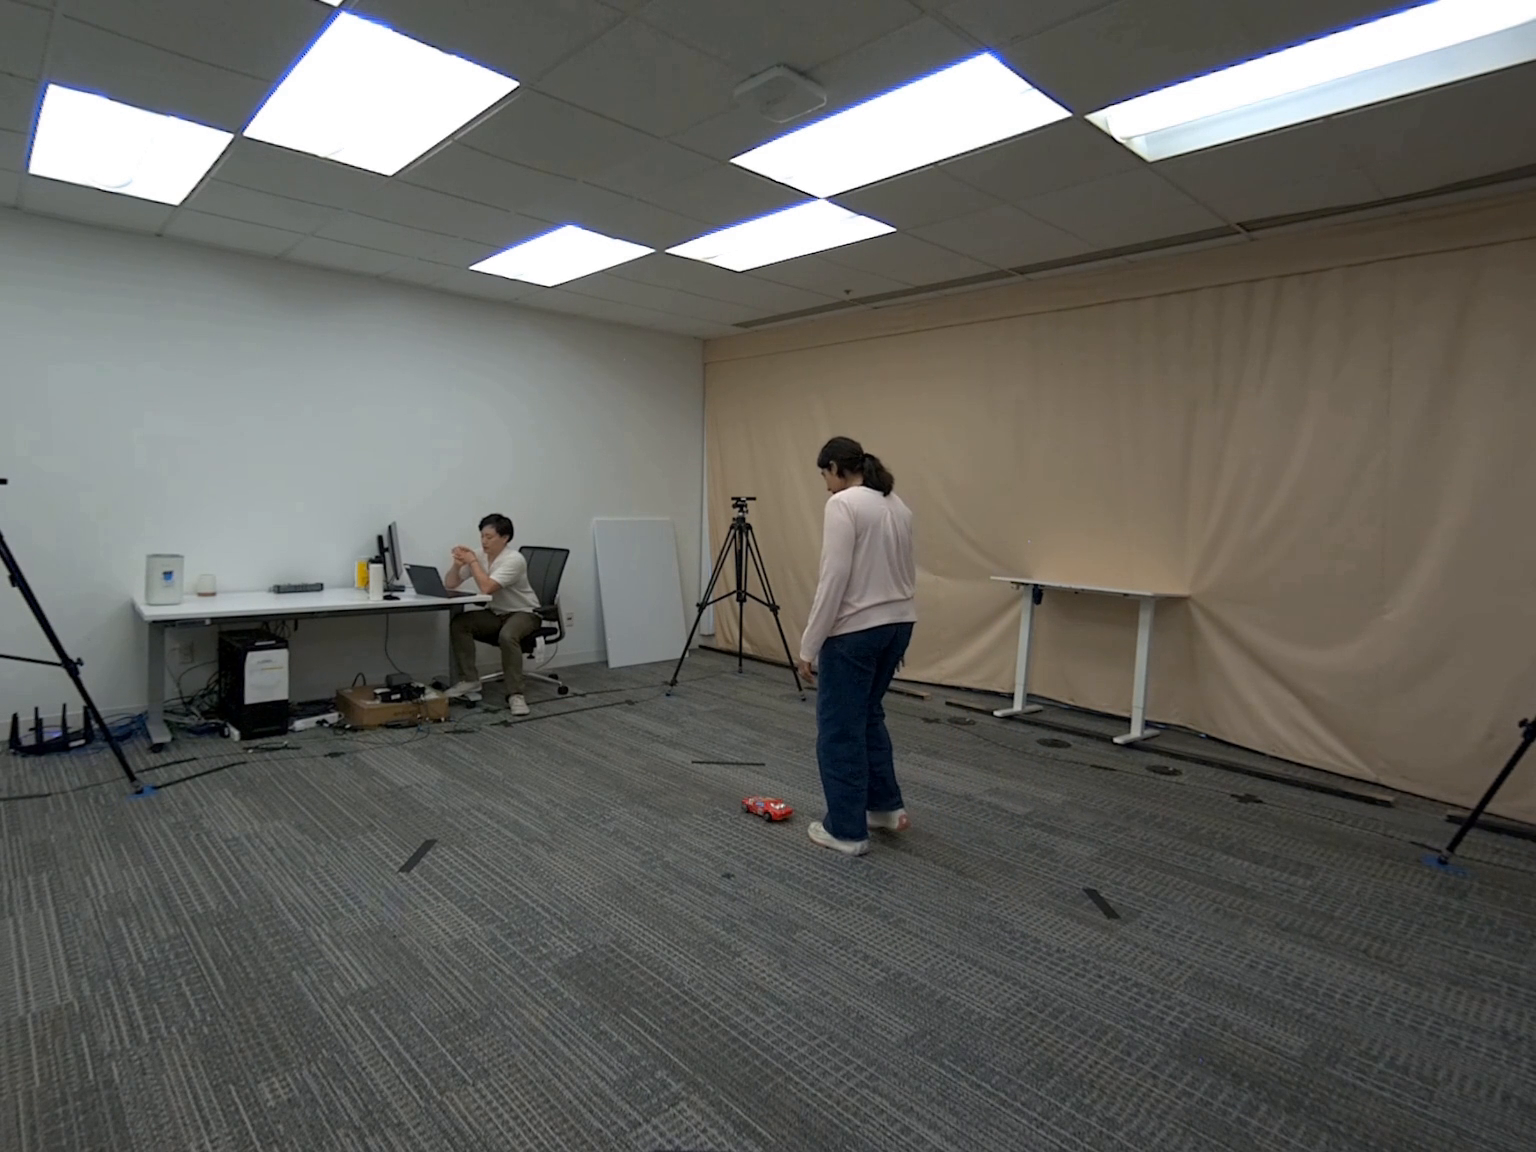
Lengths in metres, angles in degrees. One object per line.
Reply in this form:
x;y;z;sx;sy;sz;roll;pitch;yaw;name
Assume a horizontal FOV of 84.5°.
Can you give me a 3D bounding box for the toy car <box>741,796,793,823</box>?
-0.007;1.022;3.713;0.127;0.083;0.259;-2;-5;-43;toy car
